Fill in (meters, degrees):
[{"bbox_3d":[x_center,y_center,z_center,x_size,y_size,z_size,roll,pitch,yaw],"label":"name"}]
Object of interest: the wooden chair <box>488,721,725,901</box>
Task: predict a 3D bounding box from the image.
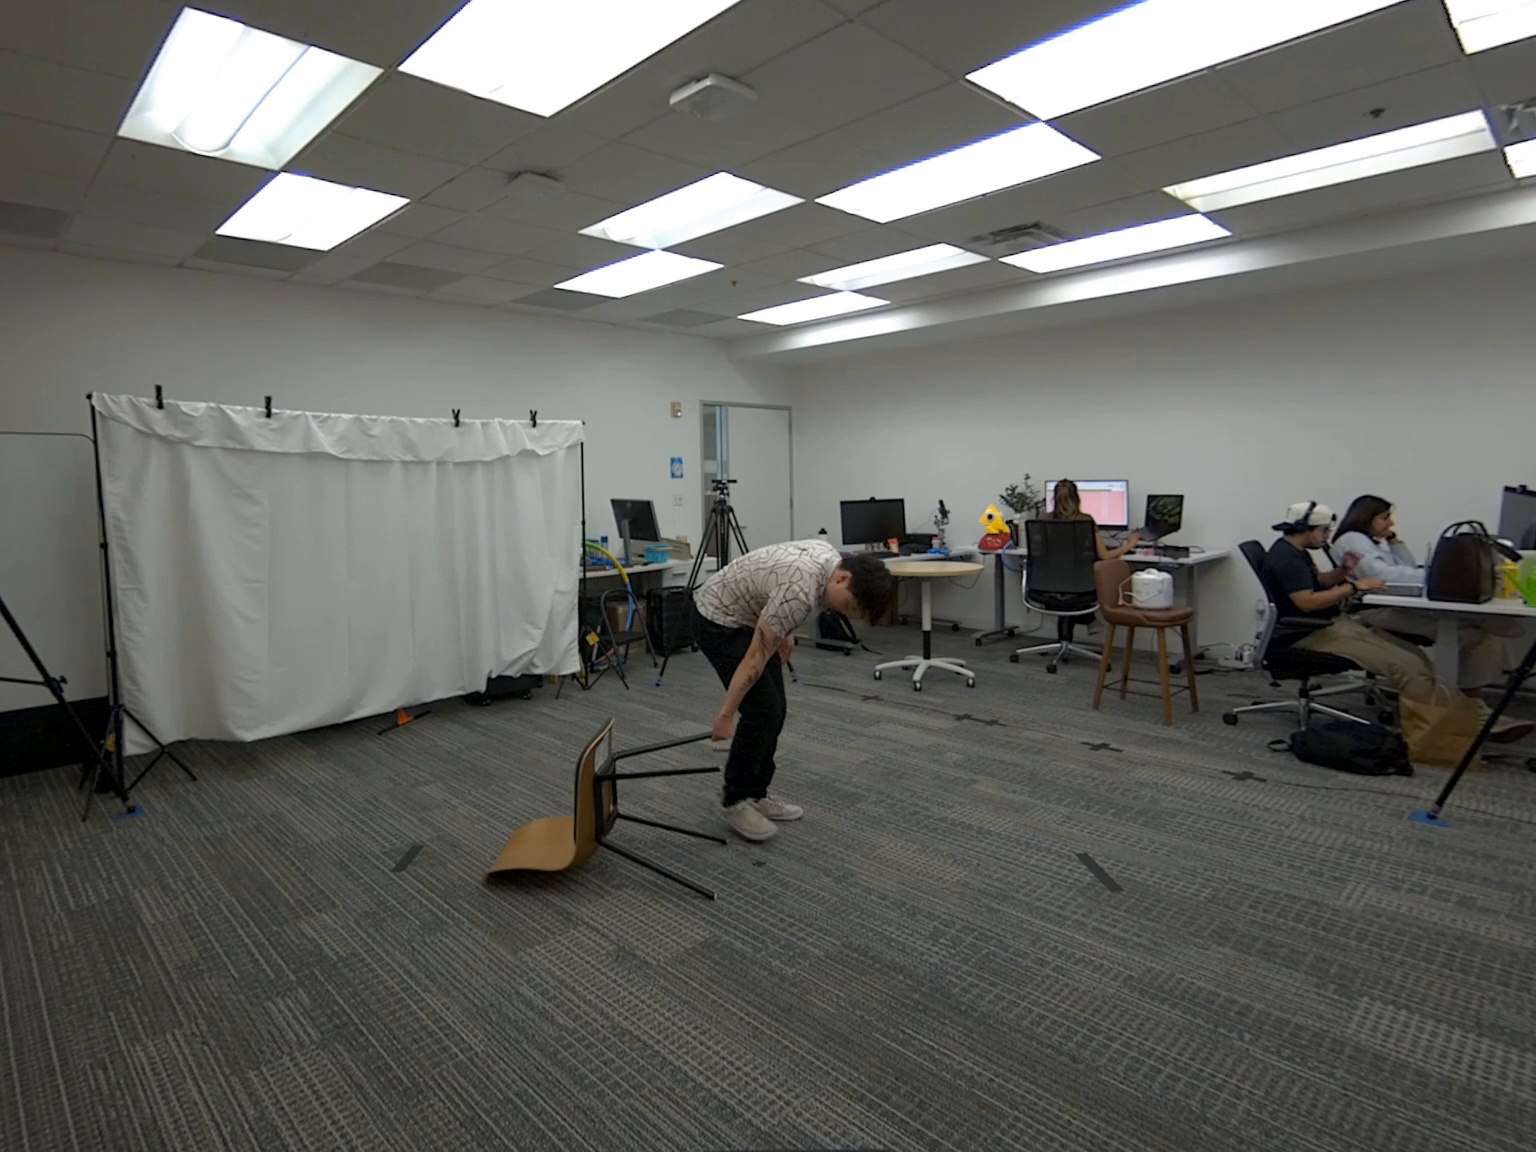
[{"bbox_3d":[-0.585,0.800,3.092,0.882,0.521,0.478,-2,5,6],"label":"wooden chair"}]
